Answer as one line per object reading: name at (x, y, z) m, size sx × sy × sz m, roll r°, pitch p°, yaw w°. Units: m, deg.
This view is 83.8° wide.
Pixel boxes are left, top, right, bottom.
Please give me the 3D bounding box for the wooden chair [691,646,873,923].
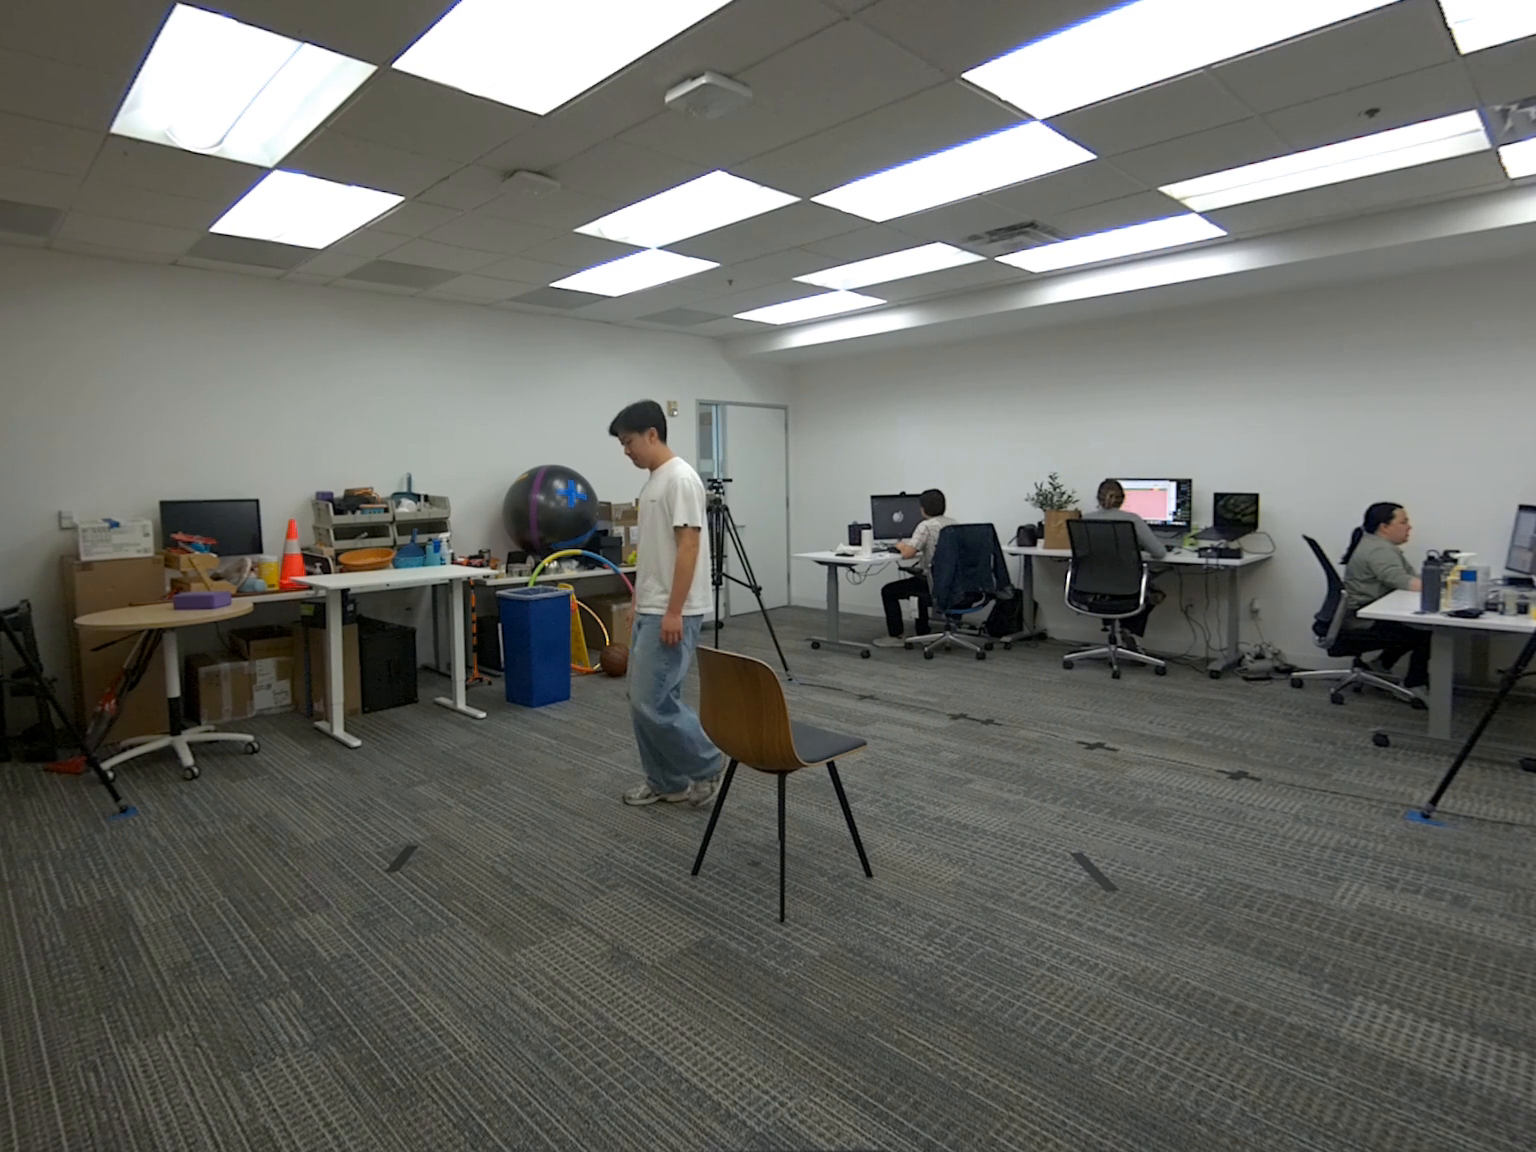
wooden chair at (0.049, 0.632, 2.973) m, size 0.511 × 0.871 × 0.493 m, roll -10°, pitch 10°, yaw -42°
